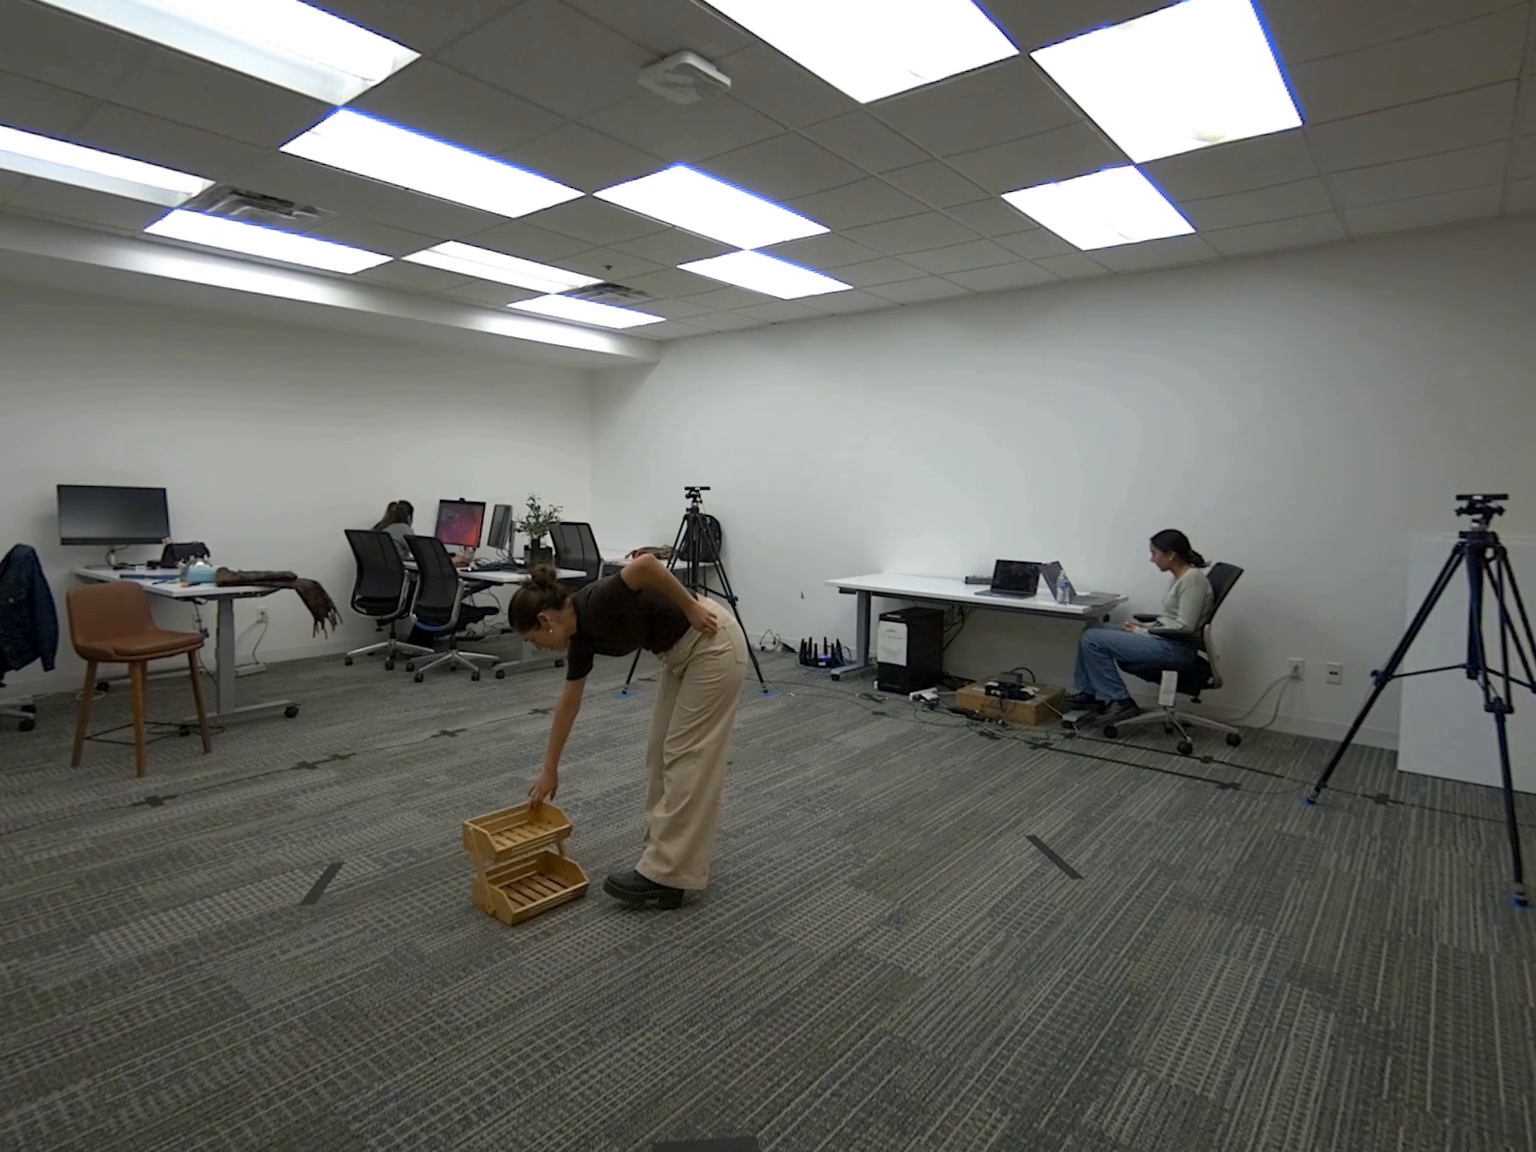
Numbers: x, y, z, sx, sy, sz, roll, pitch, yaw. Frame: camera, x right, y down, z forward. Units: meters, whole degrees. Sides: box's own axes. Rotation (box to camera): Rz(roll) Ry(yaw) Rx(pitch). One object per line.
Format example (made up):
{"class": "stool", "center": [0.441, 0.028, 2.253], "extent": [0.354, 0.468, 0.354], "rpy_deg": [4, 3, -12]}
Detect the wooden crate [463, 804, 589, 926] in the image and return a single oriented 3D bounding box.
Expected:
{"class": "wooden crate", "center": [-0.819, 0.947, 2.868], "extent": [0.312, 0.273, 0.315], "rpy_deg": [2, 4, 42]}
